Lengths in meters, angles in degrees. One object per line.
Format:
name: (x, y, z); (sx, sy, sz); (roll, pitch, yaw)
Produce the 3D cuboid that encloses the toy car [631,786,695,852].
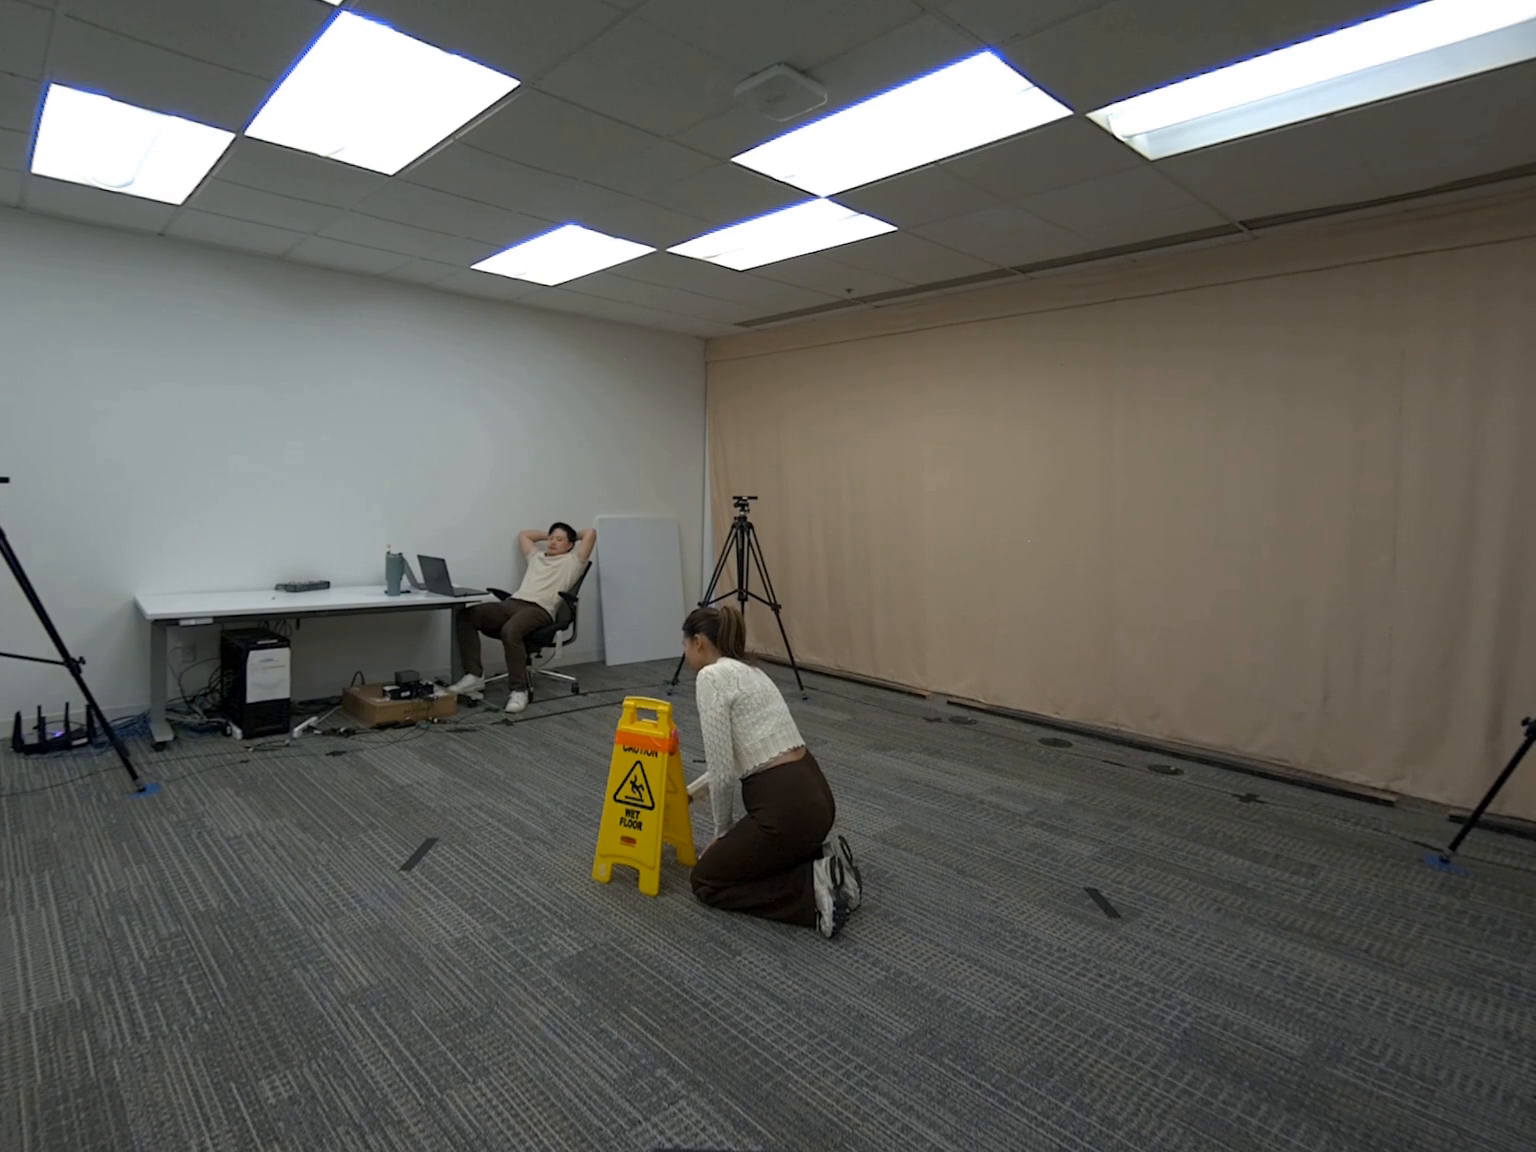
toy car: (-0.405, 0.933, 3.263); (0.133, 0.249, 0.083); (-6, 31, 30)
